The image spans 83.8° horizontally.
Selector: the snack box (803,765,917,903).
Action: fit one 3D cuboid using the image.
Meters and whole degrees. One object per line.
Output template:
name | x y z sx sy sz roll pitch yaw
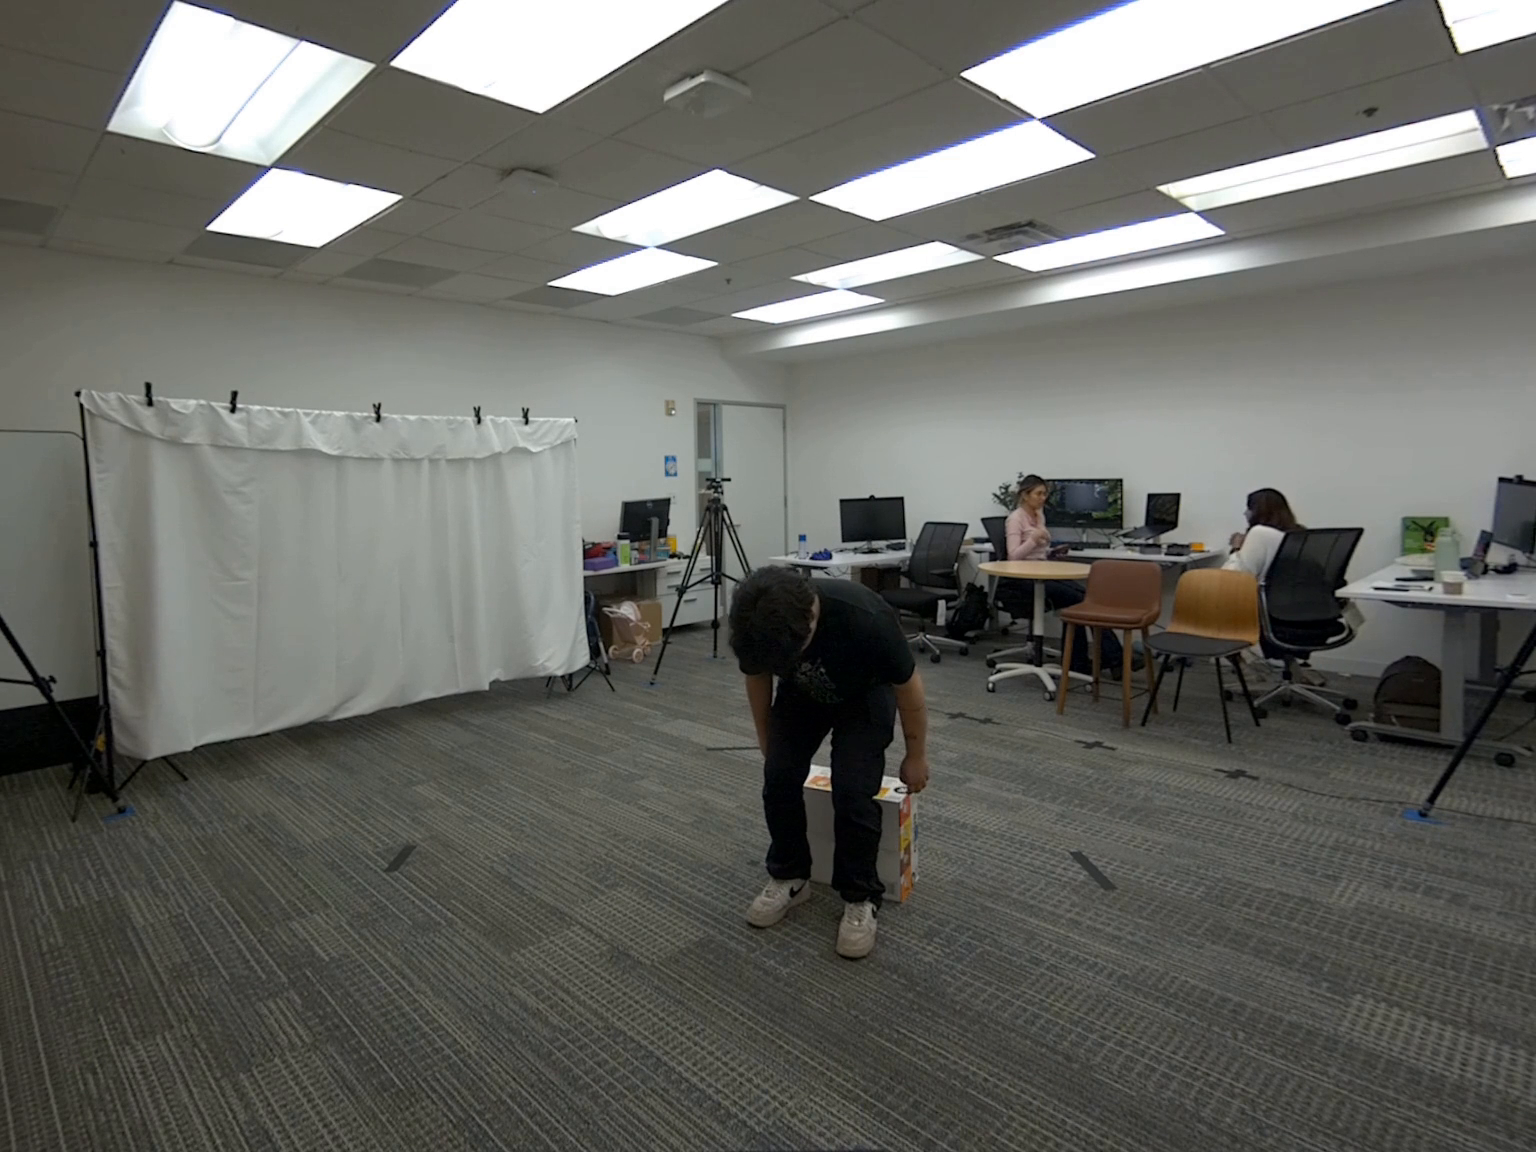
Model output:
snack box | 0.296 0.879 2.965 0.415 0.339 0.201 2 6 28
